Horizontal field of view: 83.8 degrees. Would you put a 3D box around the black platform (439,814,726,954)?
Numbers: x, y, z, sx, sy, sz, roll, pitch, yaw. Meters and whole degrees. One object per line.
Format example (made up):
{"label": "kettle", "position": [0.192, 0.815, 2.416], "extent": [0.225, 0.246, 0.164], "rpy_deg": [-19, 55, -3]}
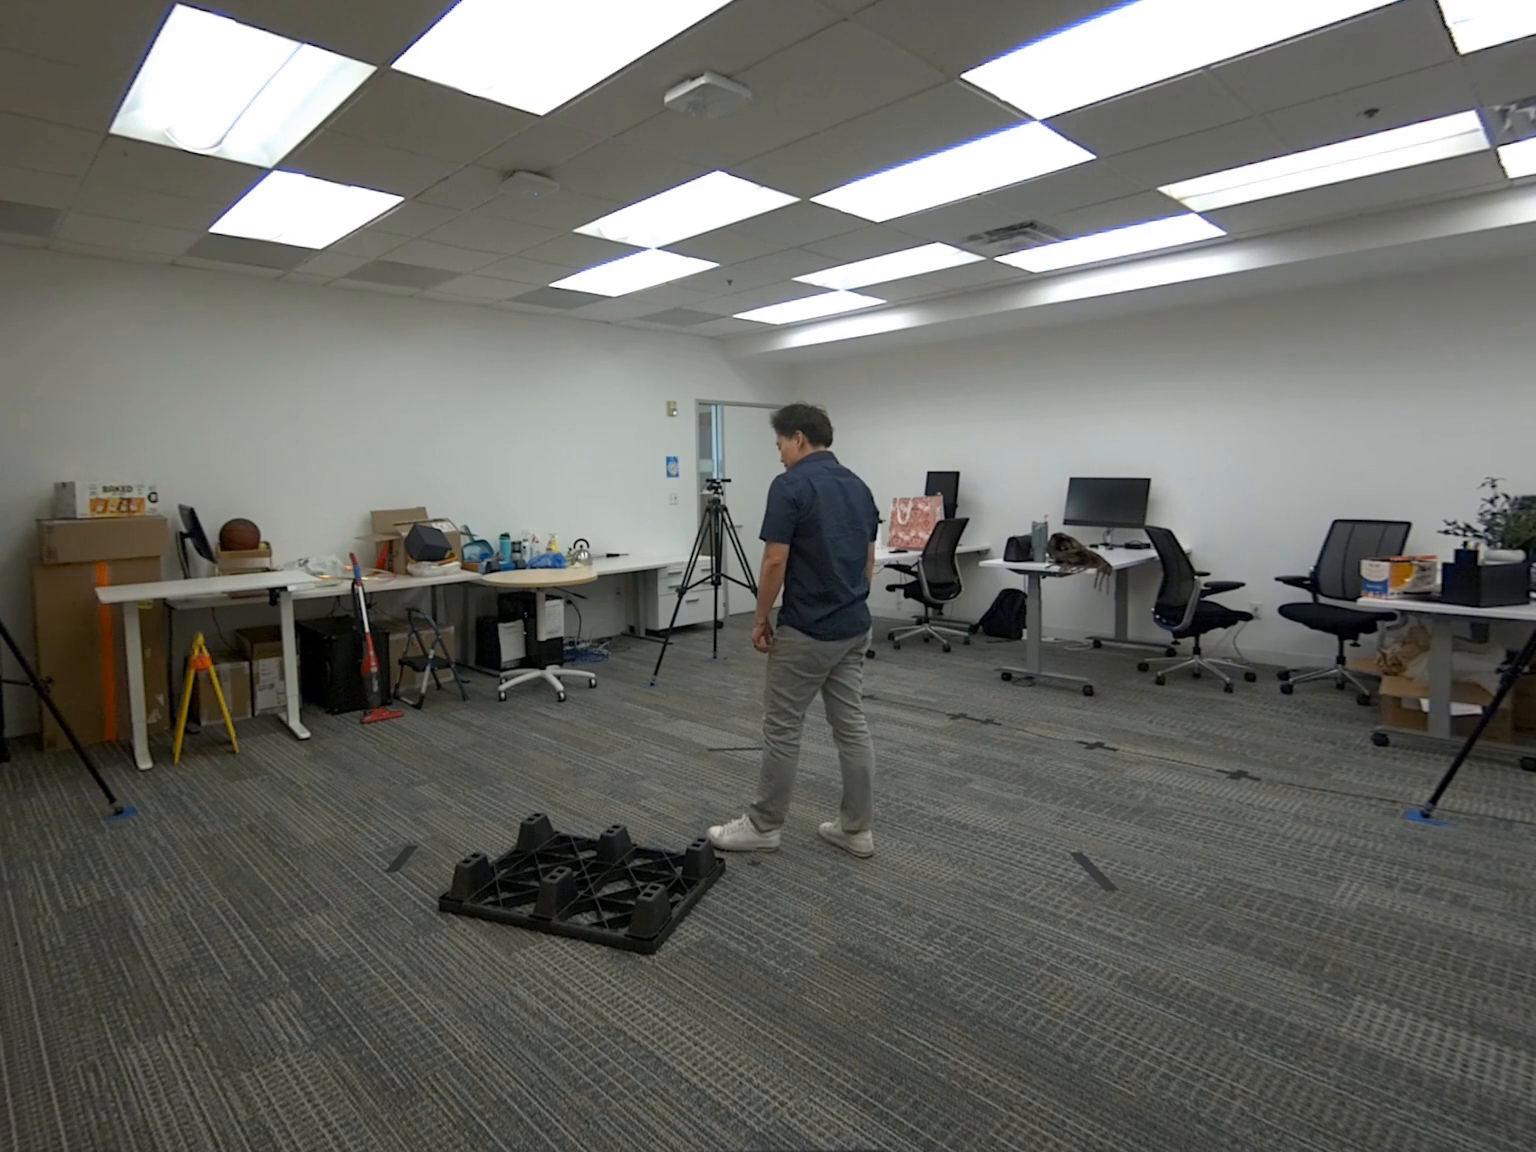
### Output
{"label": "black platform", "position": [-0.621, 1.012, 2.929], "extent": [0.822, 0.143, 0.596], "rpy_deg": [1, 6, 21]}
